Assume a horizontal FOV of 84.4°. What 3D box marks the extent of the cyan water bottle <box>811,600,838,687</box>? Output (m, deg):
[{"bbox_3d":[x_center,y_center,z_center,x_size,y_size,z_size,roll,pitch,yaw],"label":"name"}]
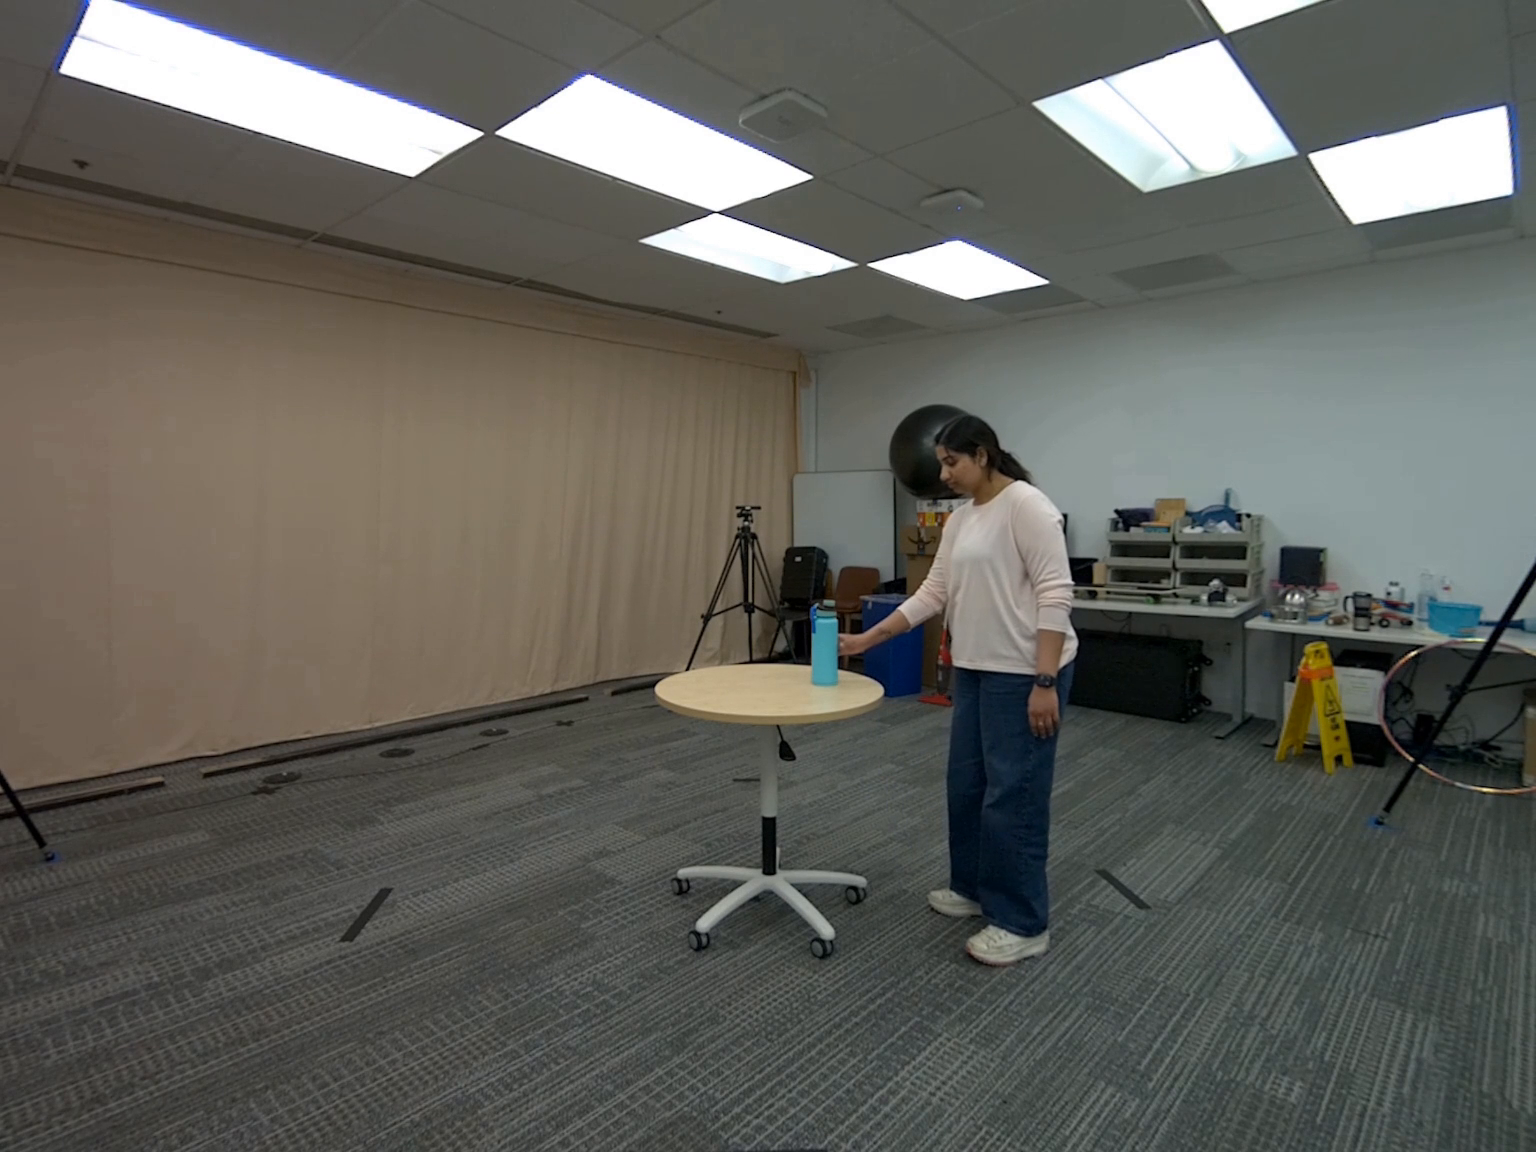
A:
[{"bbox_3d":[0.202,0.231,2.874,0.092,0.283,0.092,0,3,-2],"label":"cyan water bottle"}]
